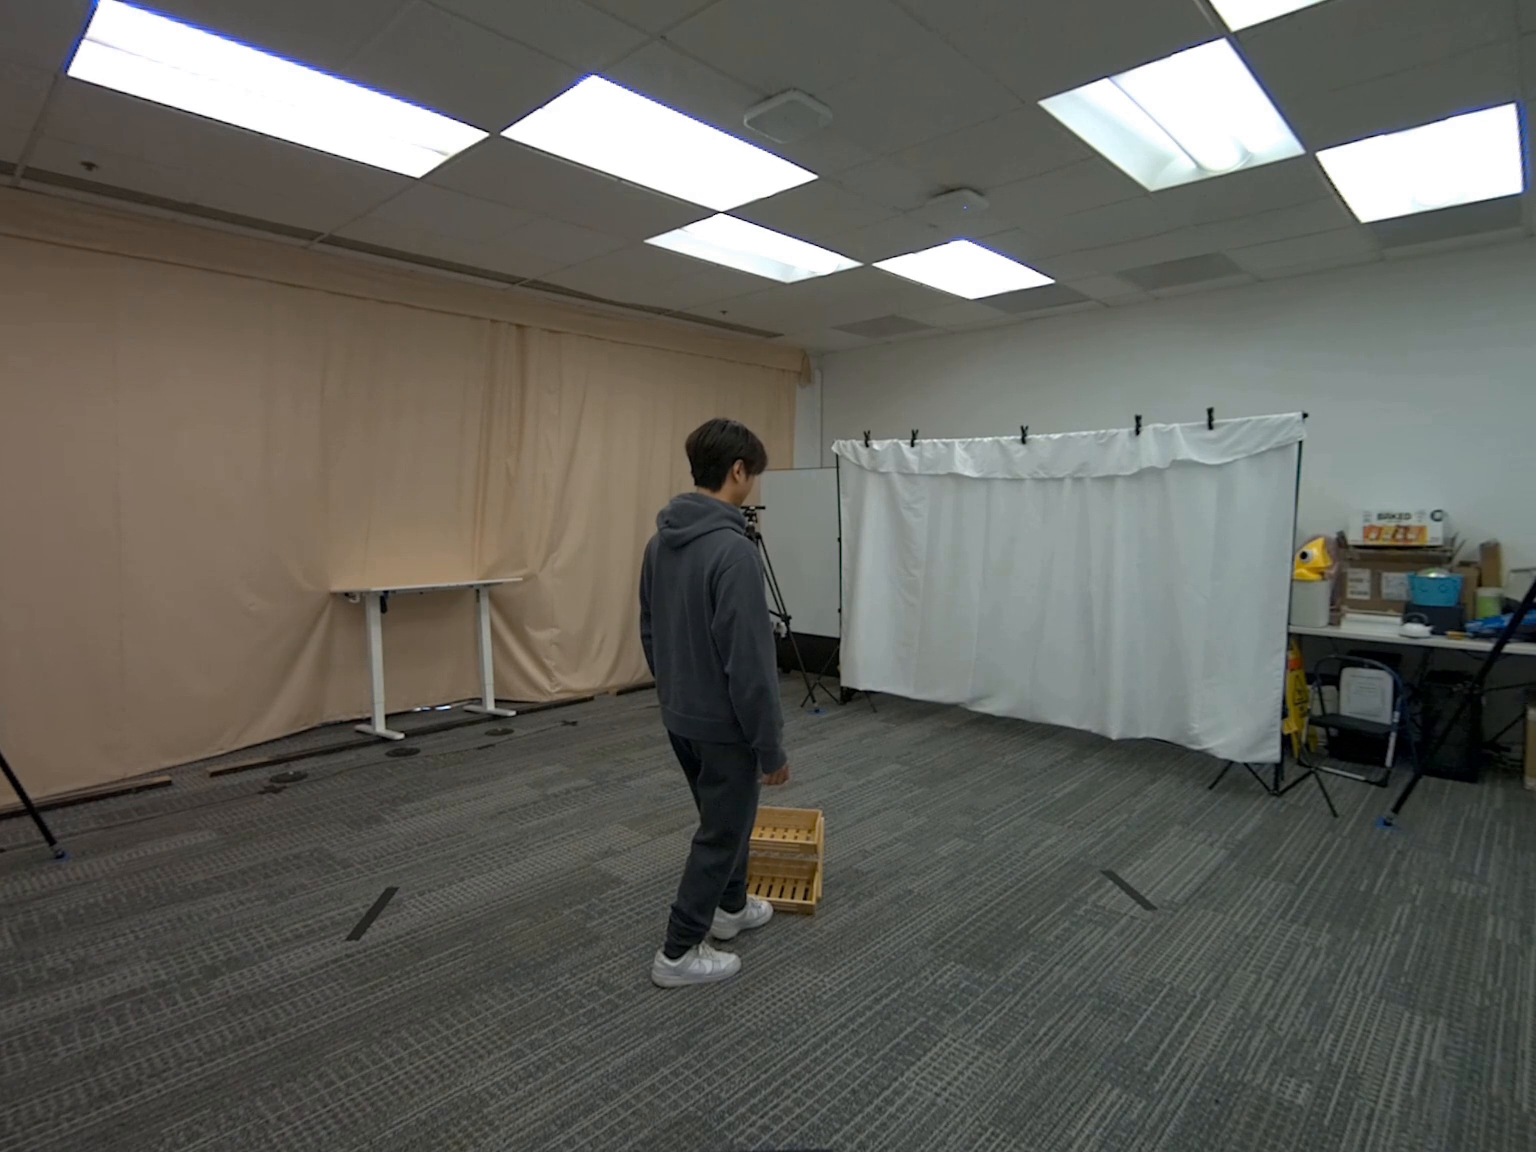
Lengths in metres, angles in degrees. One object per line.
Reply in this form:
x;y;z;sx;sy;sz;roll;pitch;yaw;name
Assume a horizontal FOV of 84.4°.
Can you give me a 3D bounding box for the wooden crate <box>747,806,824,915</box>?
0.038;1.011;3.012;0.328;0.273;0.299;1;3;10;wooden crate
